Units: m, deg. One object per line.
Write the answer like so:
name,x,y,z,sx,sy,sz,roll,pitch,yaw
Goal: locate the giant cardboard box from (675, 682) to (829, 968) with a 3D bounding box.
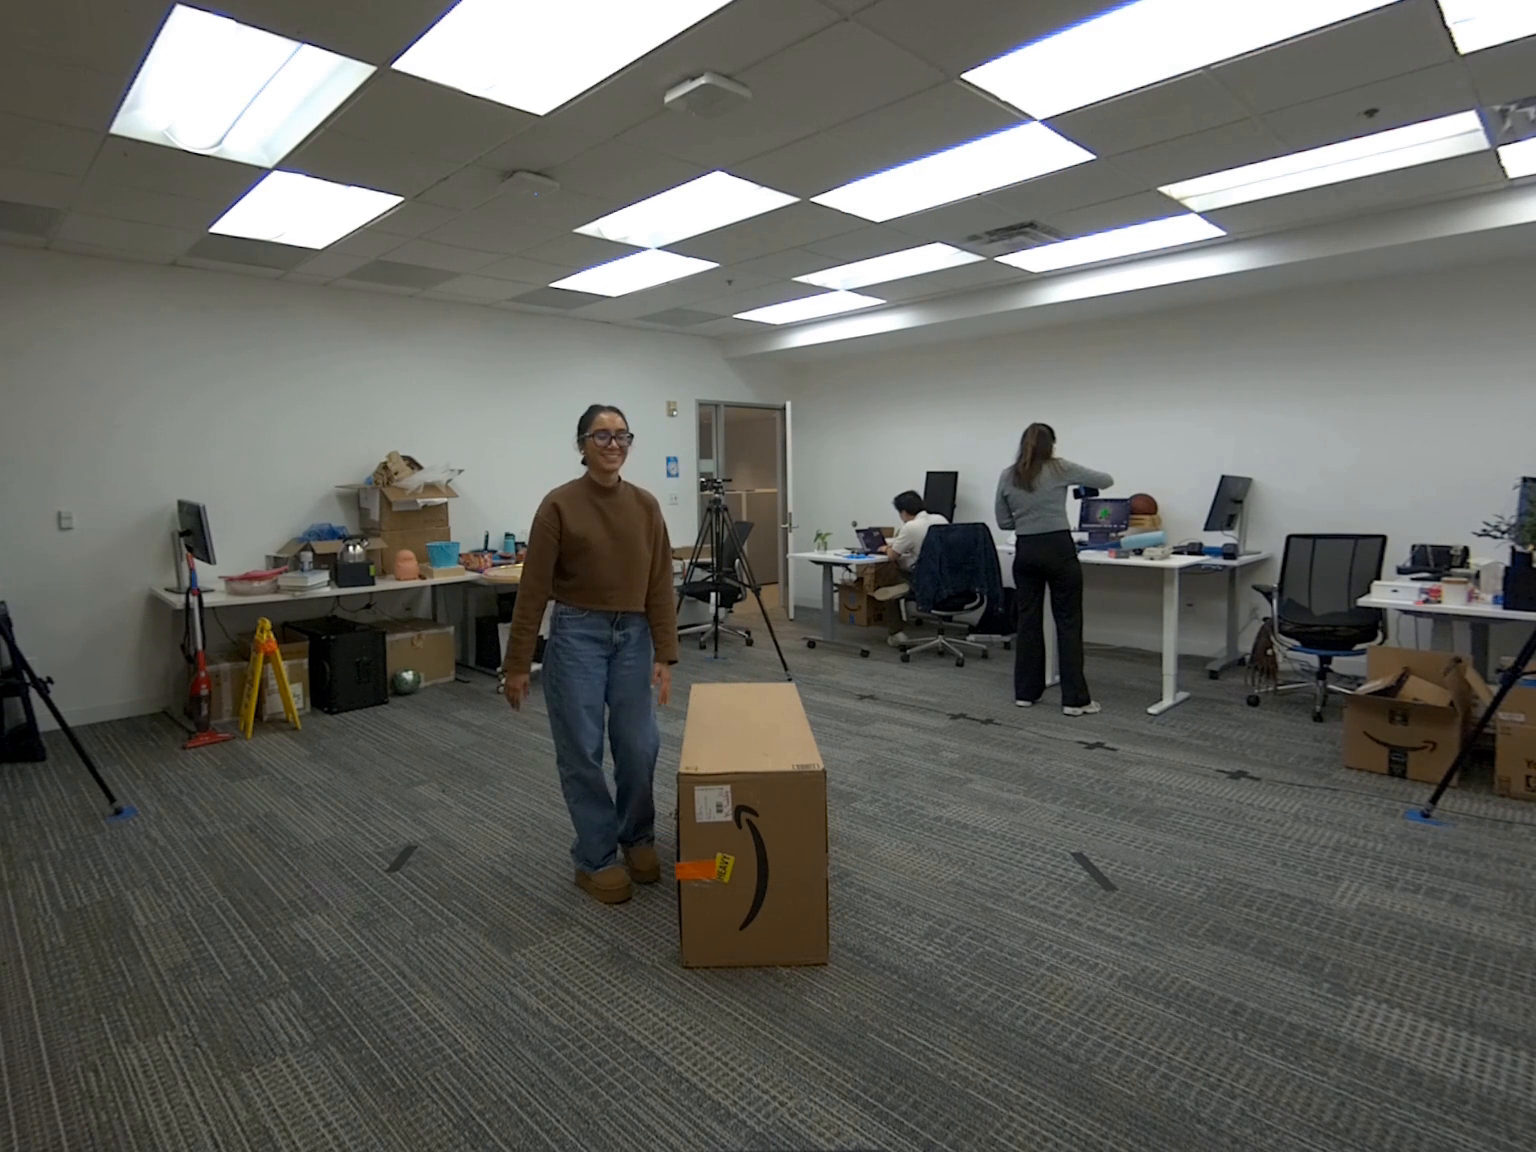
giant cardboard box,-0.068,0.779,2.938,0.446,0.581,1.032,0,5,-2
